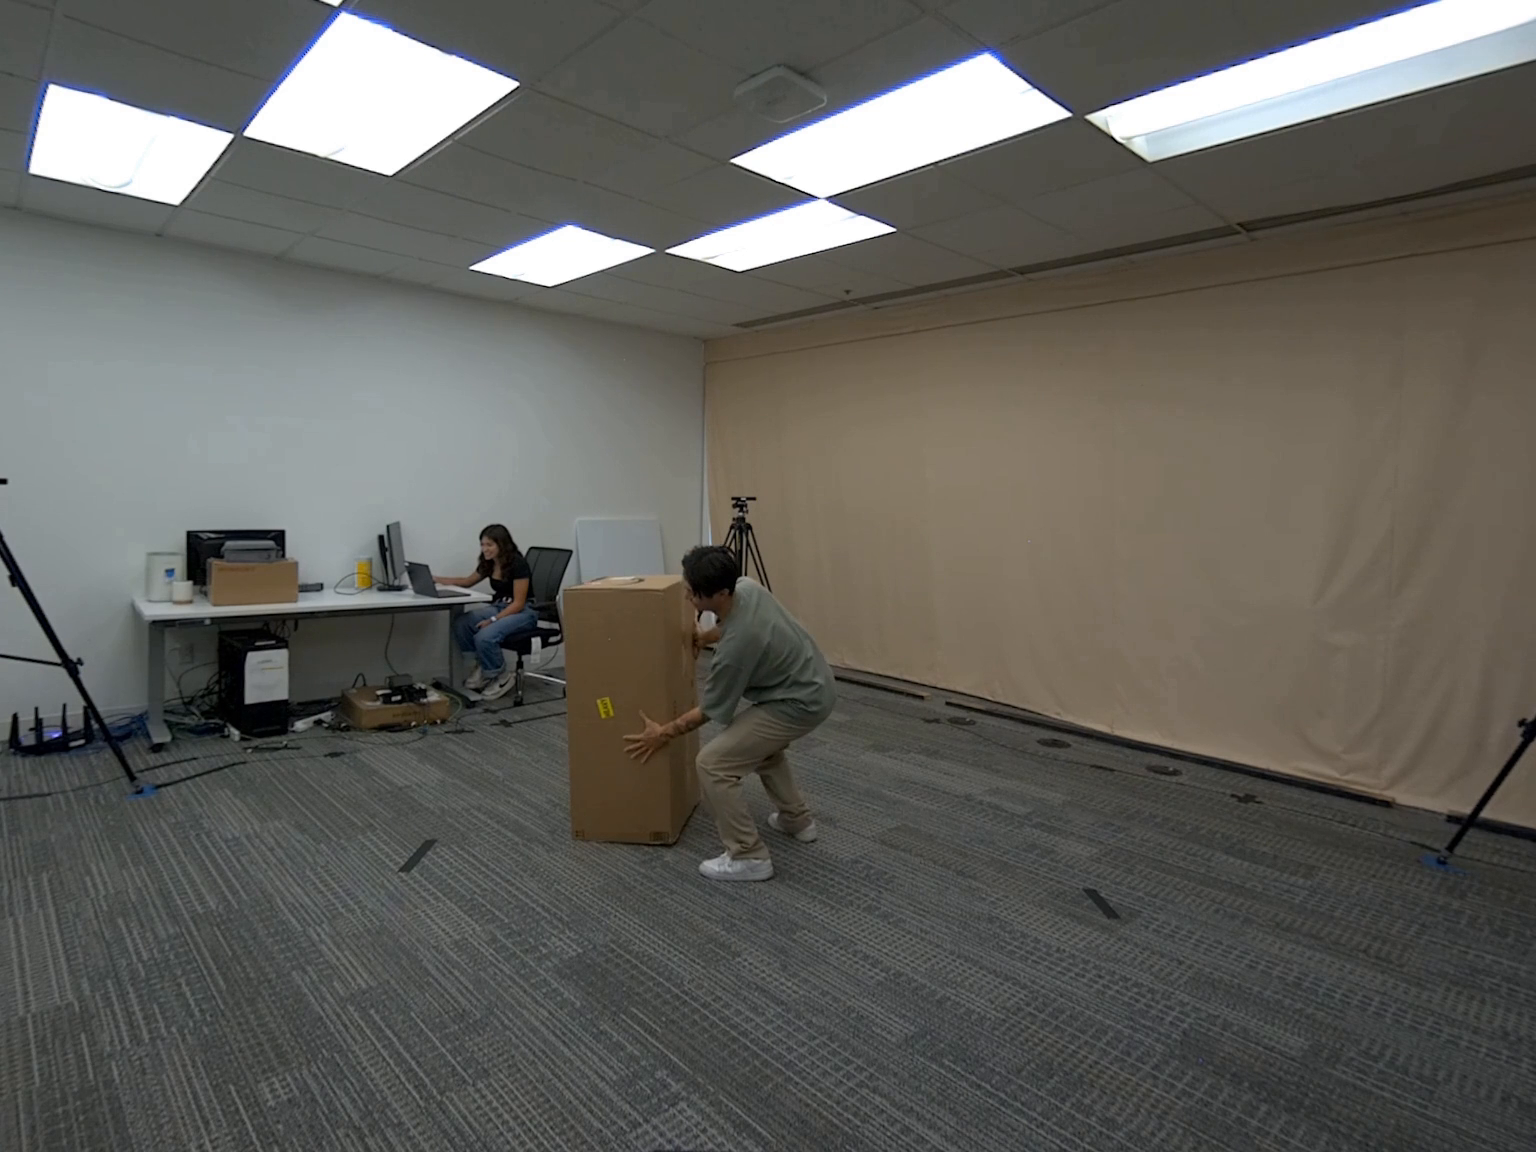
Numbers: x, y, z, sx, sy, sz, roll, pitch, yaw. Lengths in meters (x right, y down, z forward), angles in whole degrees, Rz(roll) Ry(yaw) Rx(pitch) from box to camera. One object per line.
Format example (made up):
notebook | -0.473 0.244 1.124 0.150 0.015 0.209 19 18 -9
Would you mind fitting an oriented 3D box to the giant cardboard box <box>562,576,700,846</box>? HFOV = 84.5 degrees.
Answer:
giant cardboard box | -0.571 0.535 3.630 0.429 1.023 0.574 0 3 8
